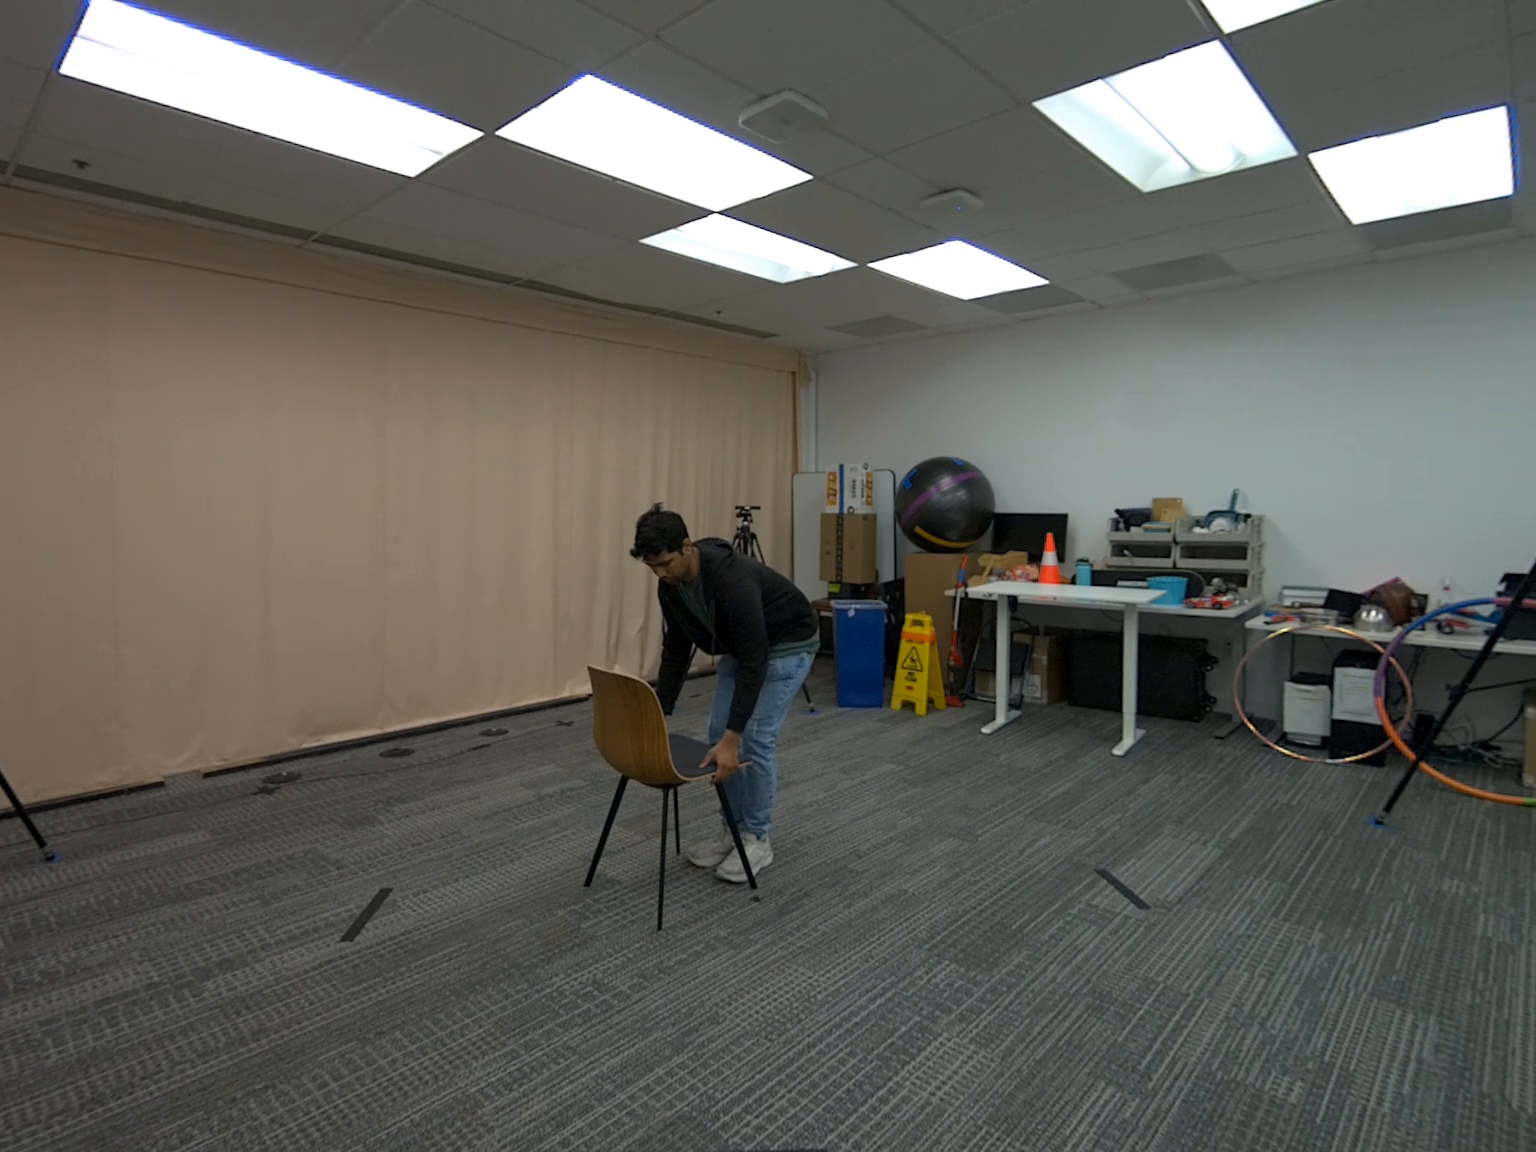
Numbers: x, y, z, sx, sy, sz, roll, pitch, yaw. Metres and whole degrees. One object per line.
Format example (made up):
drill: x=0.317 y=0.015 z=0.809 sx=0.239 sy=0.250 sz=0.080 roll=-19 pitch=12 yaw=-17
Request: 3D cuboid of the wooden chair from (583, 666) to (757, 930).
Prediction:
wooden chair: x=-0.351 y=0.708 z=3.056 sx=0.508 sy=0.874 sz=0.494 roll=-9 pitch=8 yaw=-43
